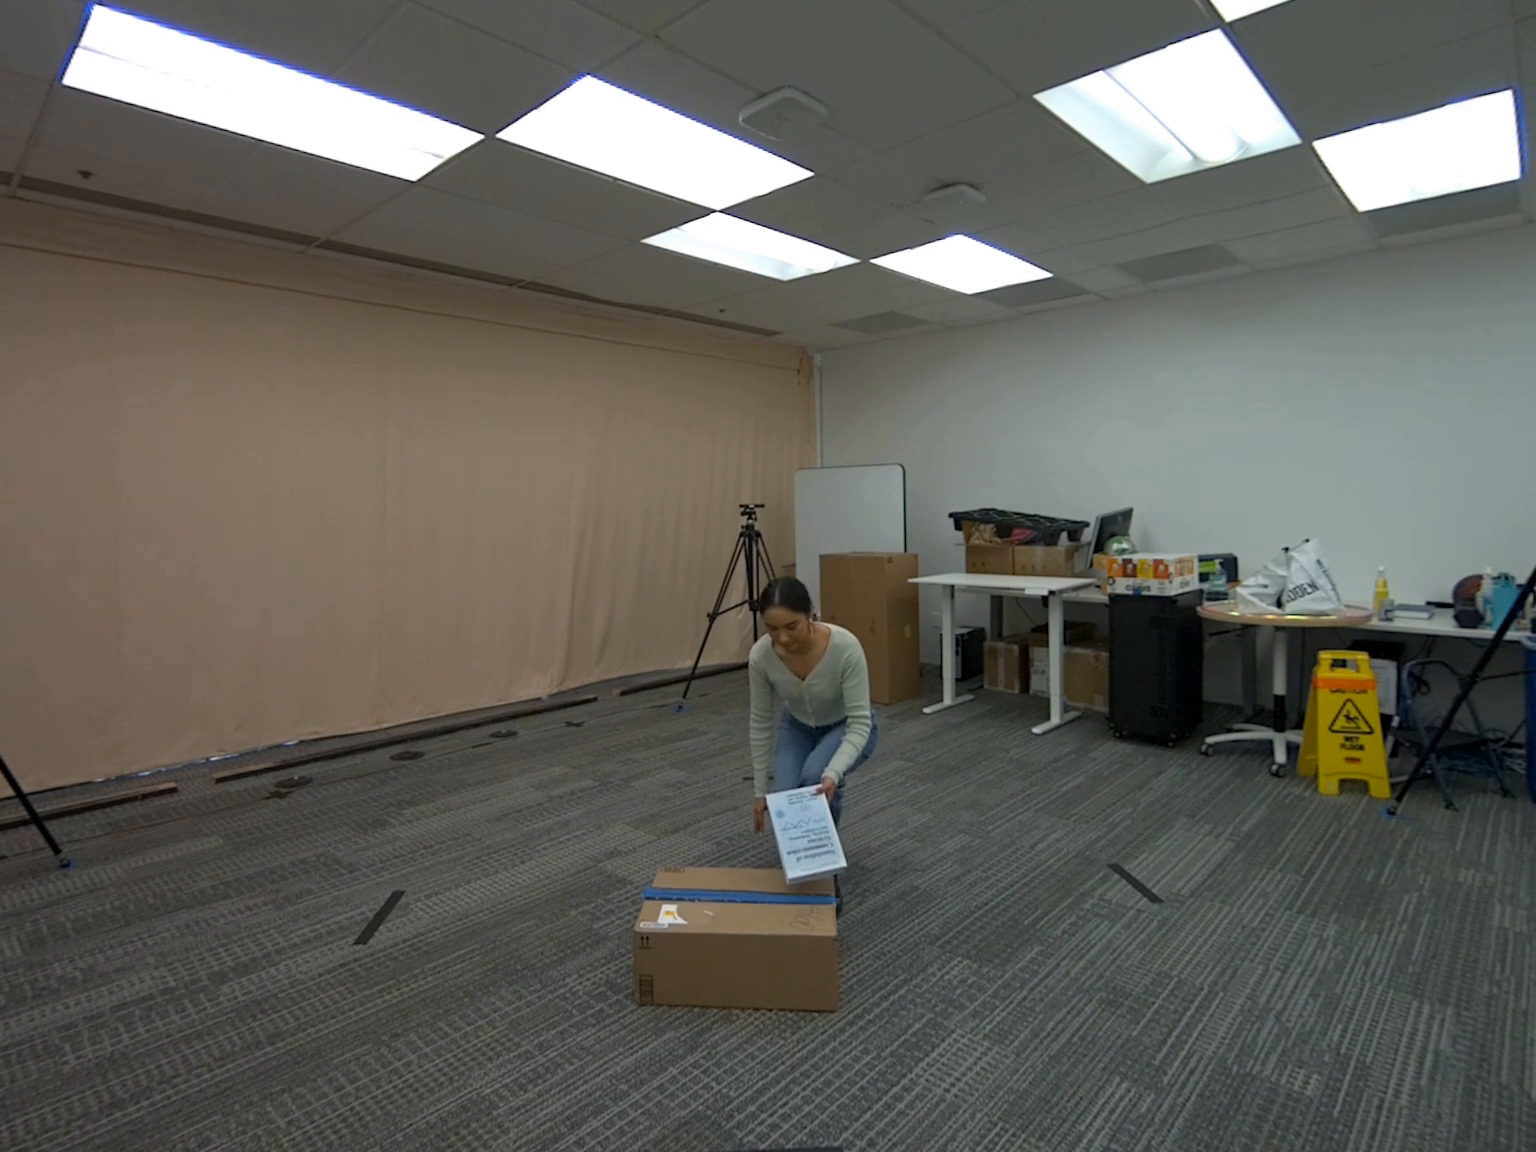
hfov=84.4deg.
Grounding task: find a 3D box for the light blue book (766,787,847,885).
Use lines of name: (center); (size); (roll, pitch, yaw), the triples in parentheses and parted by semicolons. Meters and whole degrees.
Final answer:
light blue book: (0.123, 0.787, 2.613); (0.189, 0.268, 0.058); (-10, -36, -10)
